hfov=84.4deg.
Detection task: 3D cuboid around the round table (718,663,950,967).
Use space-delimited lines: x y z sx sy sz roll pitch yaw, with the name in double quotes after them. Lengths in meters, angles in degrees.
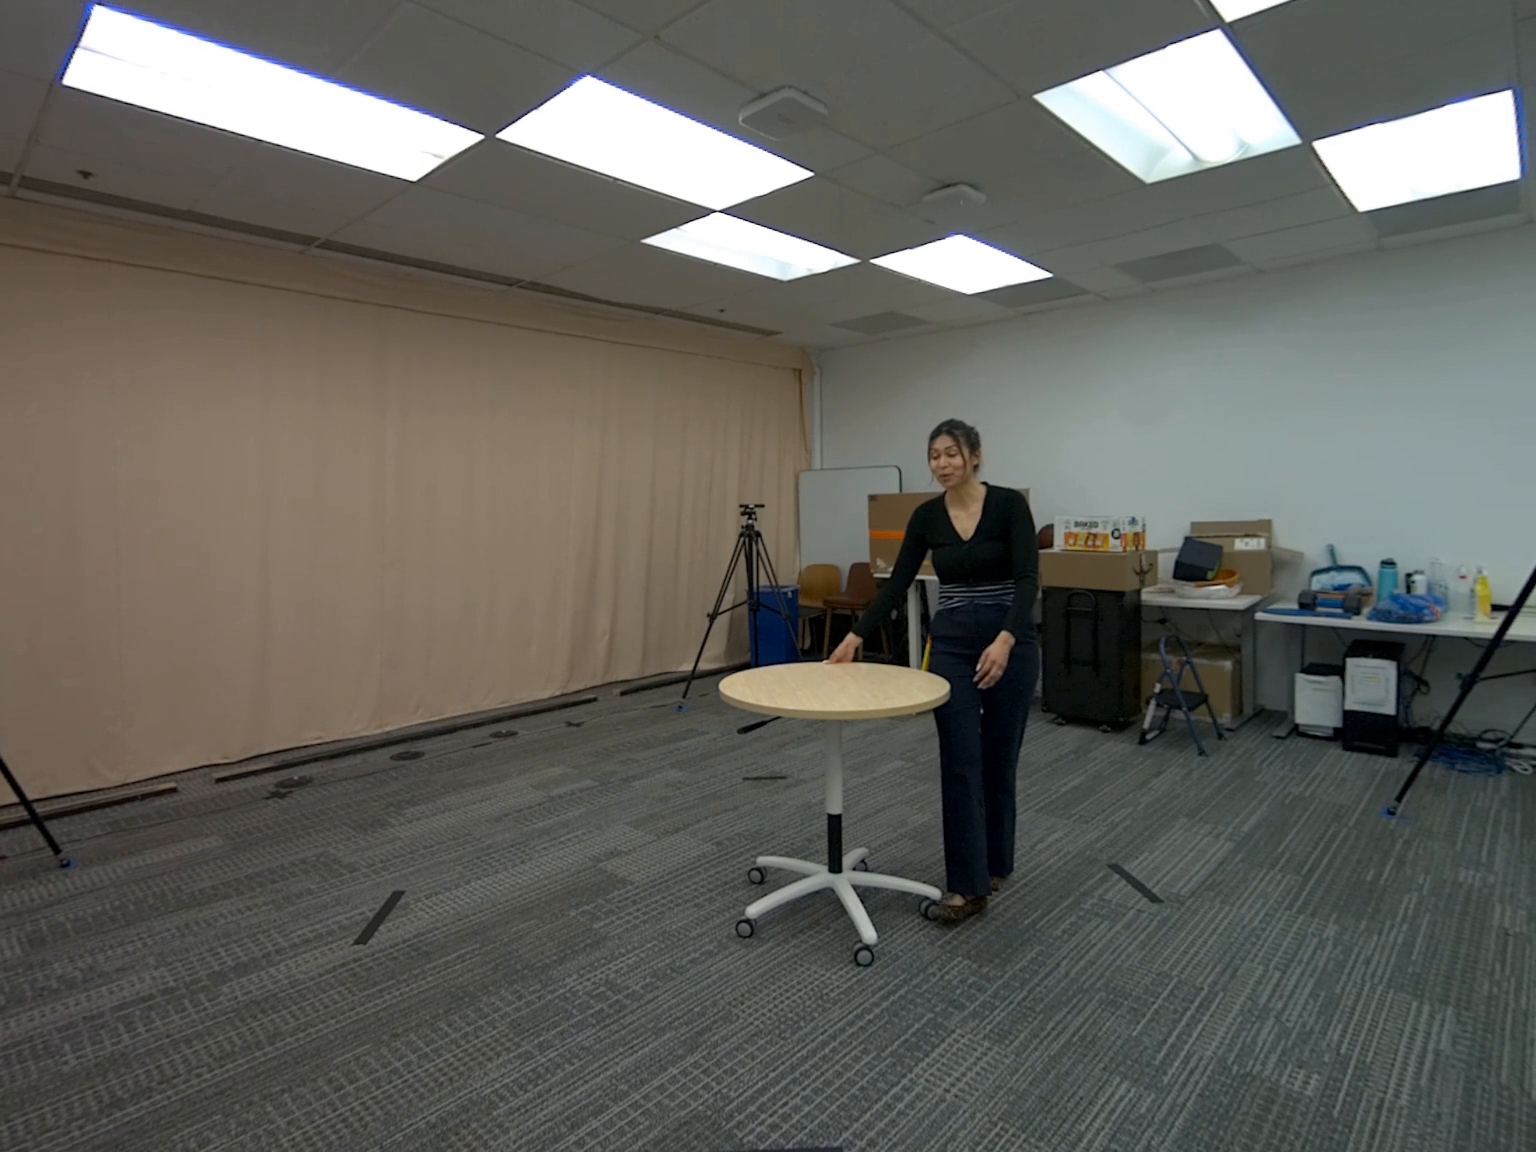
0.224 0.755 2.850 0.763 0.792 0.767 -1 4 -2 "round table"
